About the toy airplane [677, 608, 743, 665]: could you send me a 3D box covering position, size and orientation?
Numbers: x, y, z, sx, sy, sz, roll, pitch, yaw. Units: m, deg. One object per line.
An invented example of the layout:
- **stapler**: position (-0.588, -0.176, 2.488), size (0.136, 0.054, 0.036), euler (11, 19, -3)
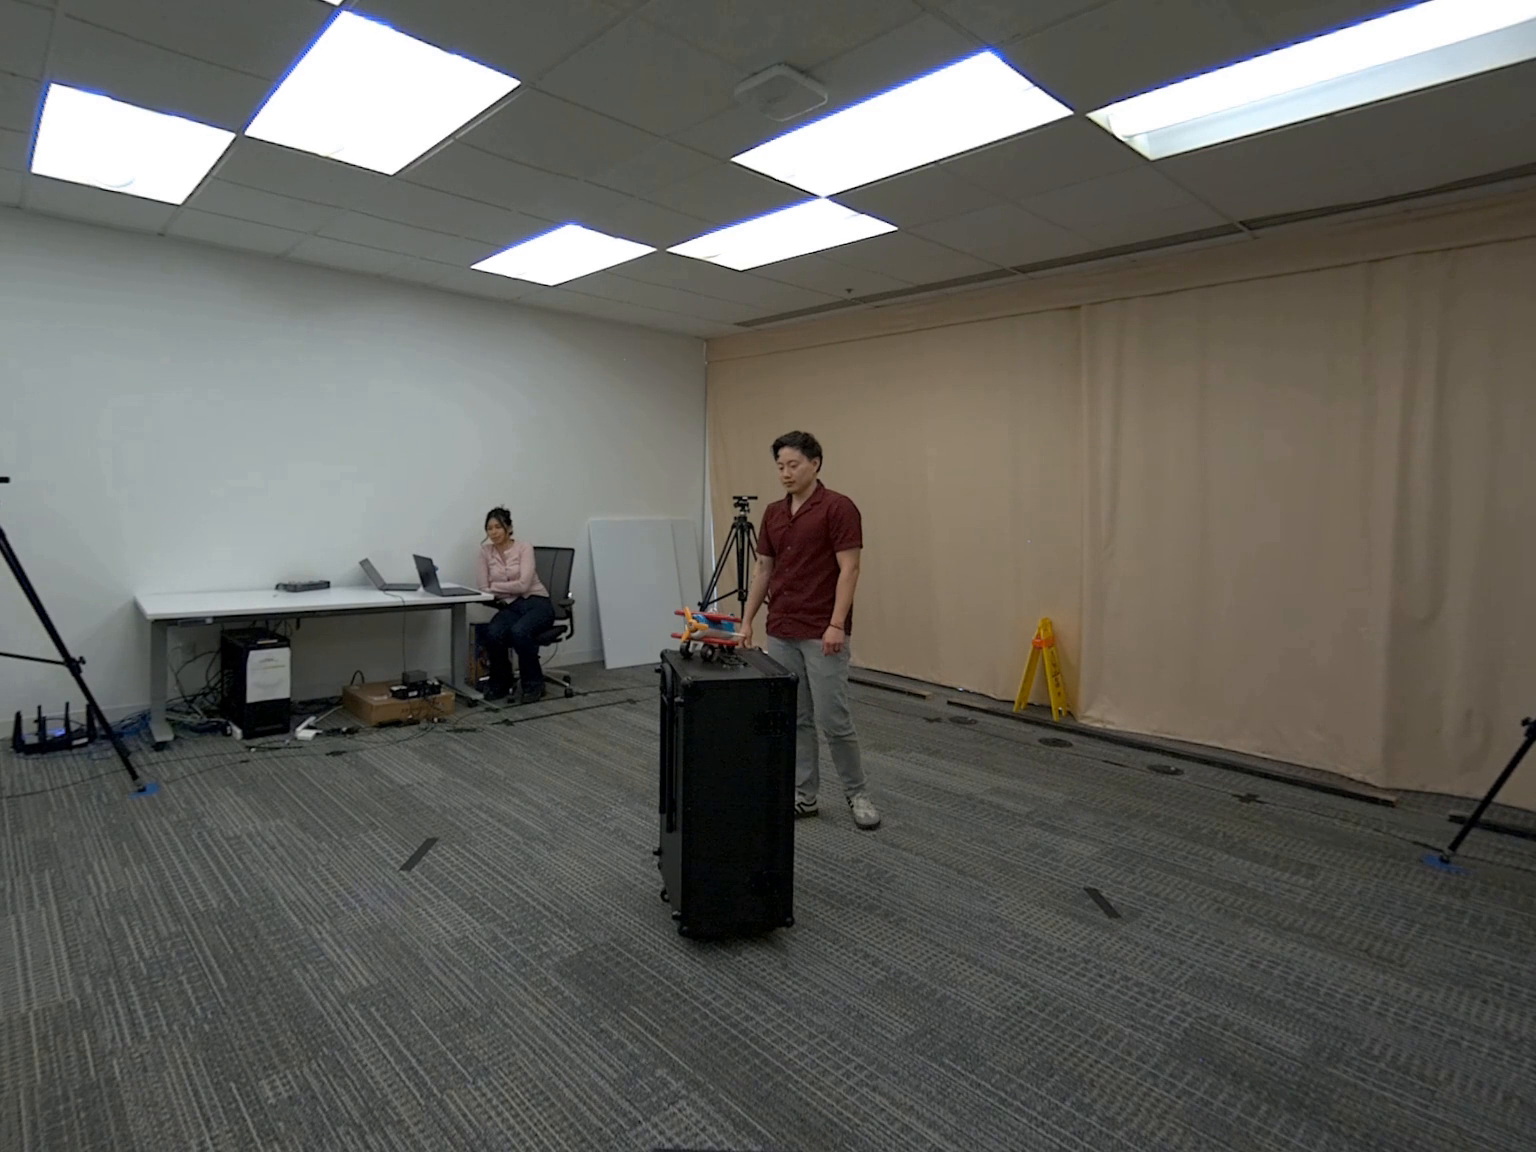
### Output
- **toy airplane**: position (-0.215, 0.189, 2.895), size (0.252, 0.156, 0.259), euler (2, 6, 4)
